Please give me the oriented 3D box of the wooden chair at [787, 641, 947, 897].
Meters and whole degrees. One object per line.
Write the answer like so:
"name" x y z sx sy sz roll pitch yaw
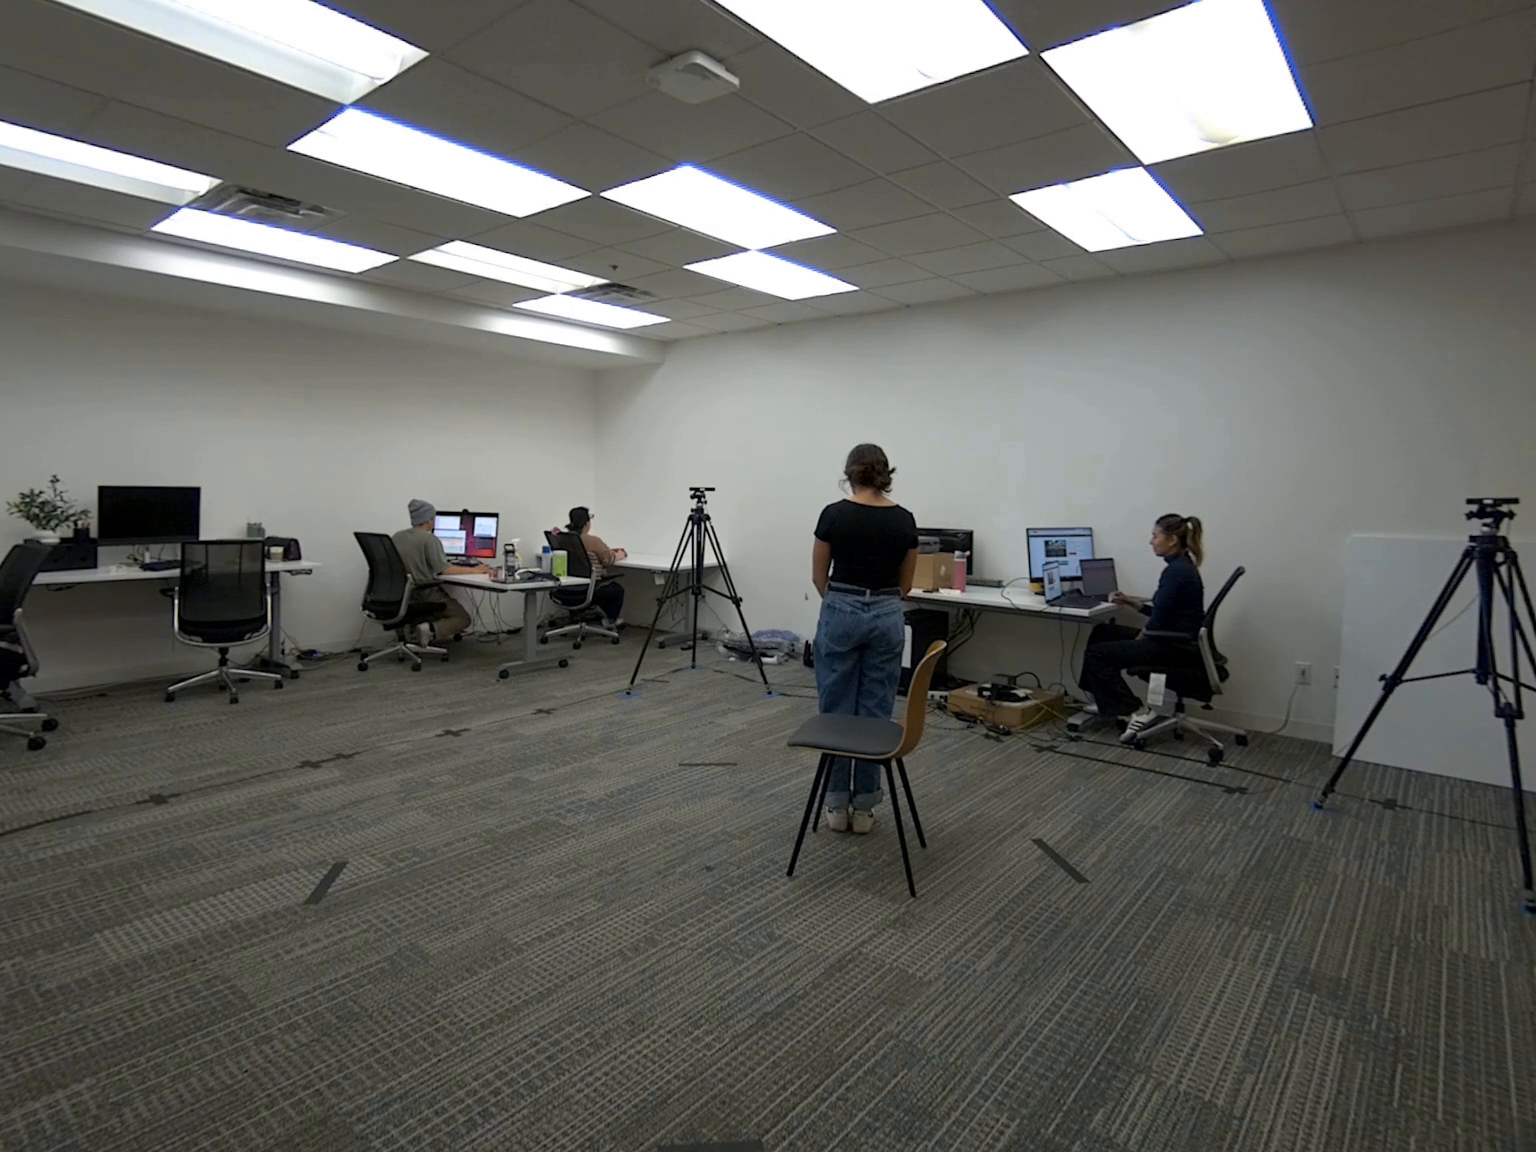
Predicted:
"wooden chair" 0.341 0.645 3.173 0.534 0.874 0.470 7 4 17
